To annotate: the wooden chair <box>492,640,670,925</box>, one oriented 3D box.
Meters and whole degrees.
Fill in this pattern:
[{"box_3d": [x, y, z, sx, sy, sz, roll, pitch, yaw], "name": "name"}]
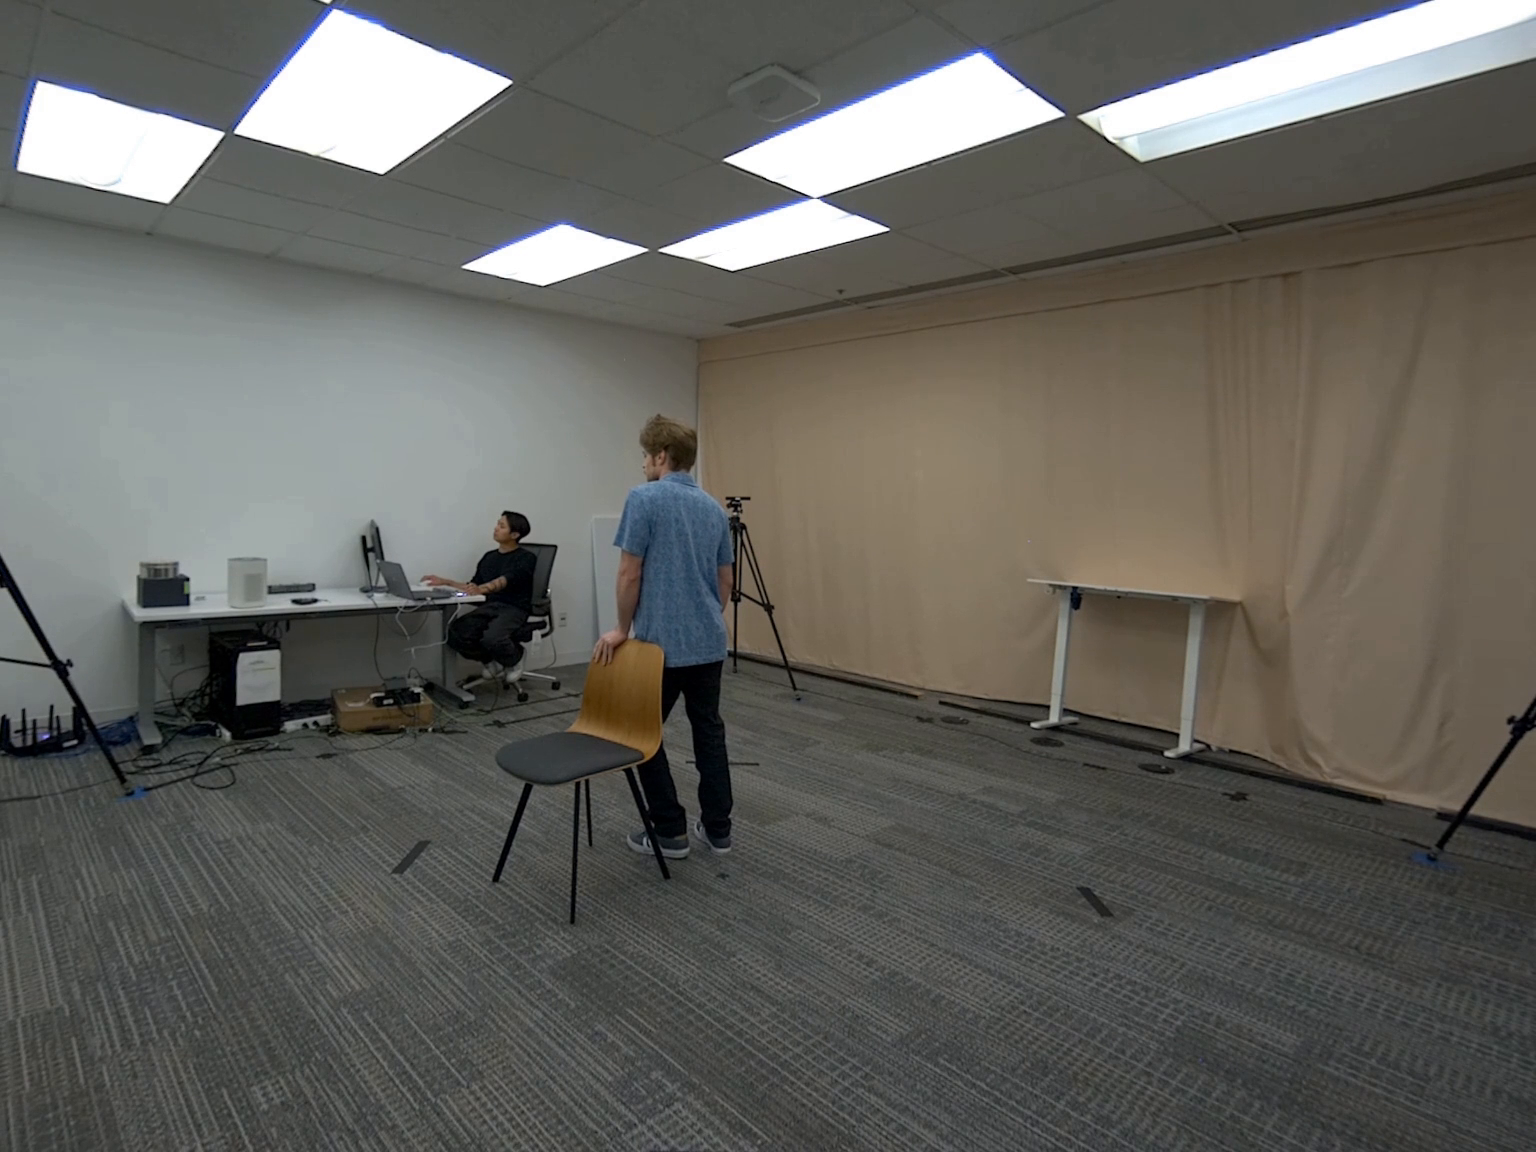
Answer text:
[{"box_3d": [-0.669, 0.677, 2.999, 0.490, 0.877, 0.510, 4, 0, 39], "name": "wooden chair"}]
